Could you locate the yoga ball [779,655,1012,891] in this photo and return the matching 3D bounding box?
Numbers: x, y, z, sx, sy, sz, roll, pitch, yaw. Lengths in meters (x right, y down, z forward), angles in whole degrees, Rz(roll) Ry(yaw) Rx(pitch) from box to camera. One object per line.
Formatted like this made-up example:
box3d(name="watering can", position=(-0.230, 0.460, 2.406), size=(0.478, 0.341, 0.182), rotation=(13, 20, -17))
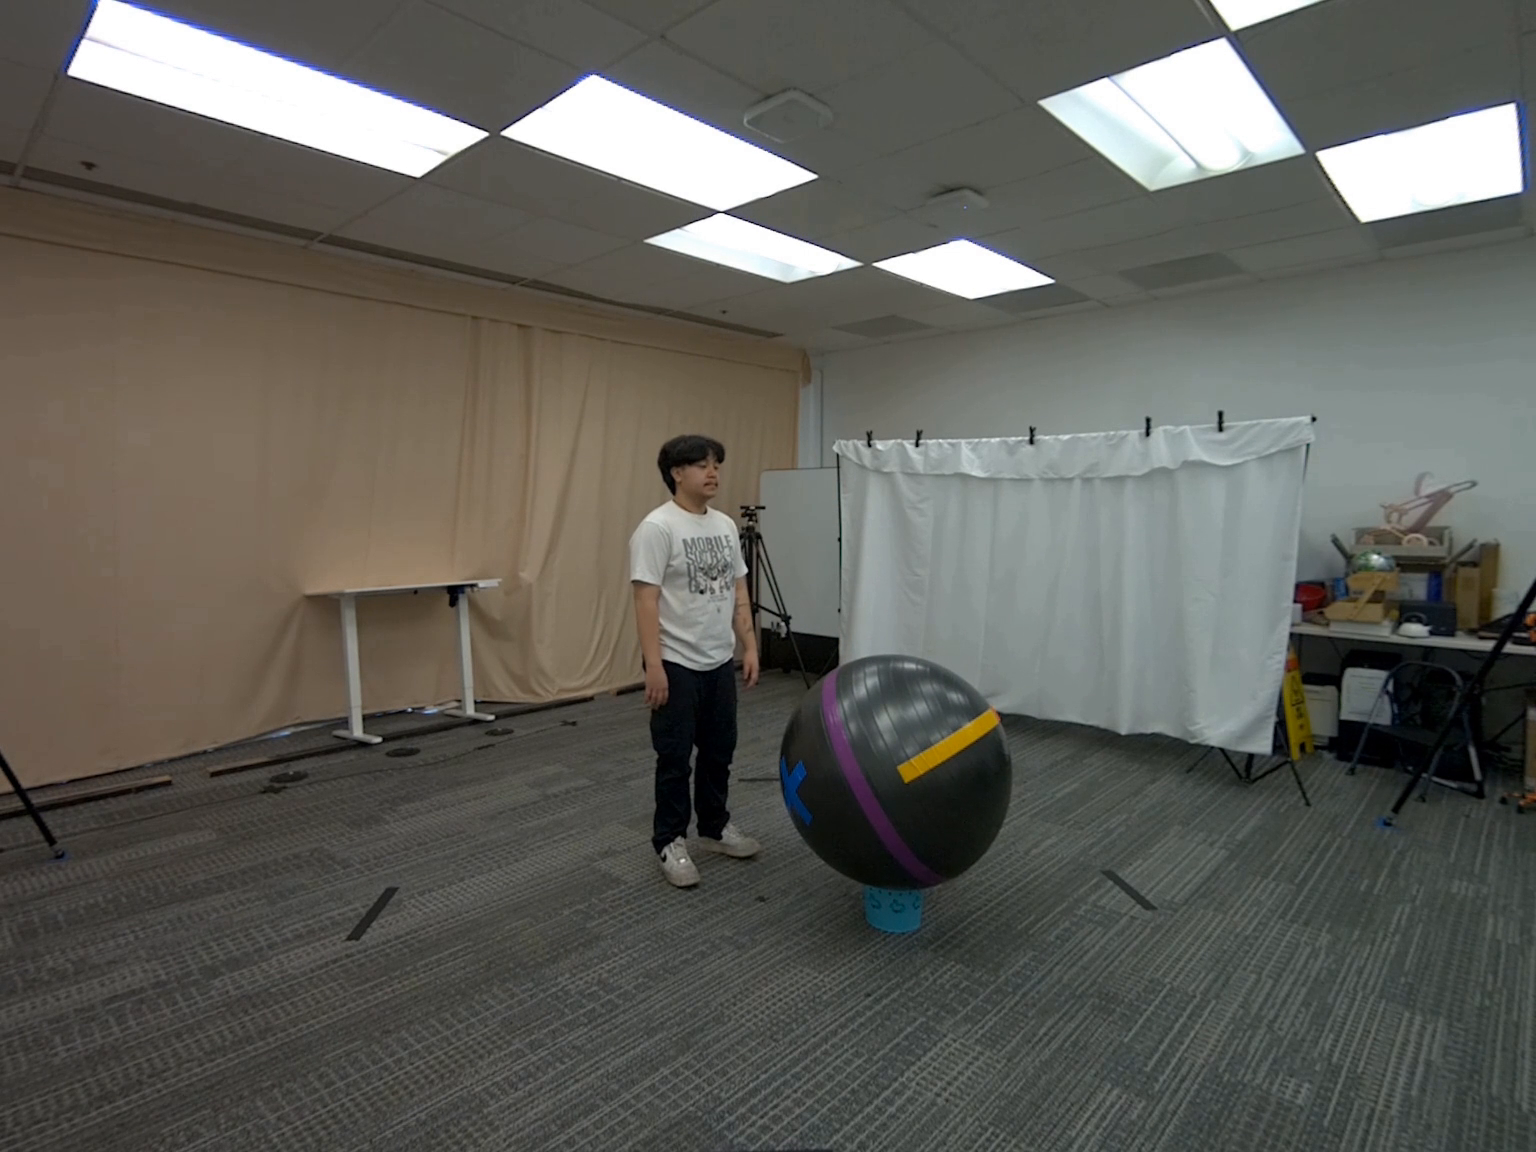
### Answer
box3d(name="yoga ball", position=(0.419, 0.651, 2.810), size=(0.757, 0.756, 0.760), rotation=(0, 4, -2))
